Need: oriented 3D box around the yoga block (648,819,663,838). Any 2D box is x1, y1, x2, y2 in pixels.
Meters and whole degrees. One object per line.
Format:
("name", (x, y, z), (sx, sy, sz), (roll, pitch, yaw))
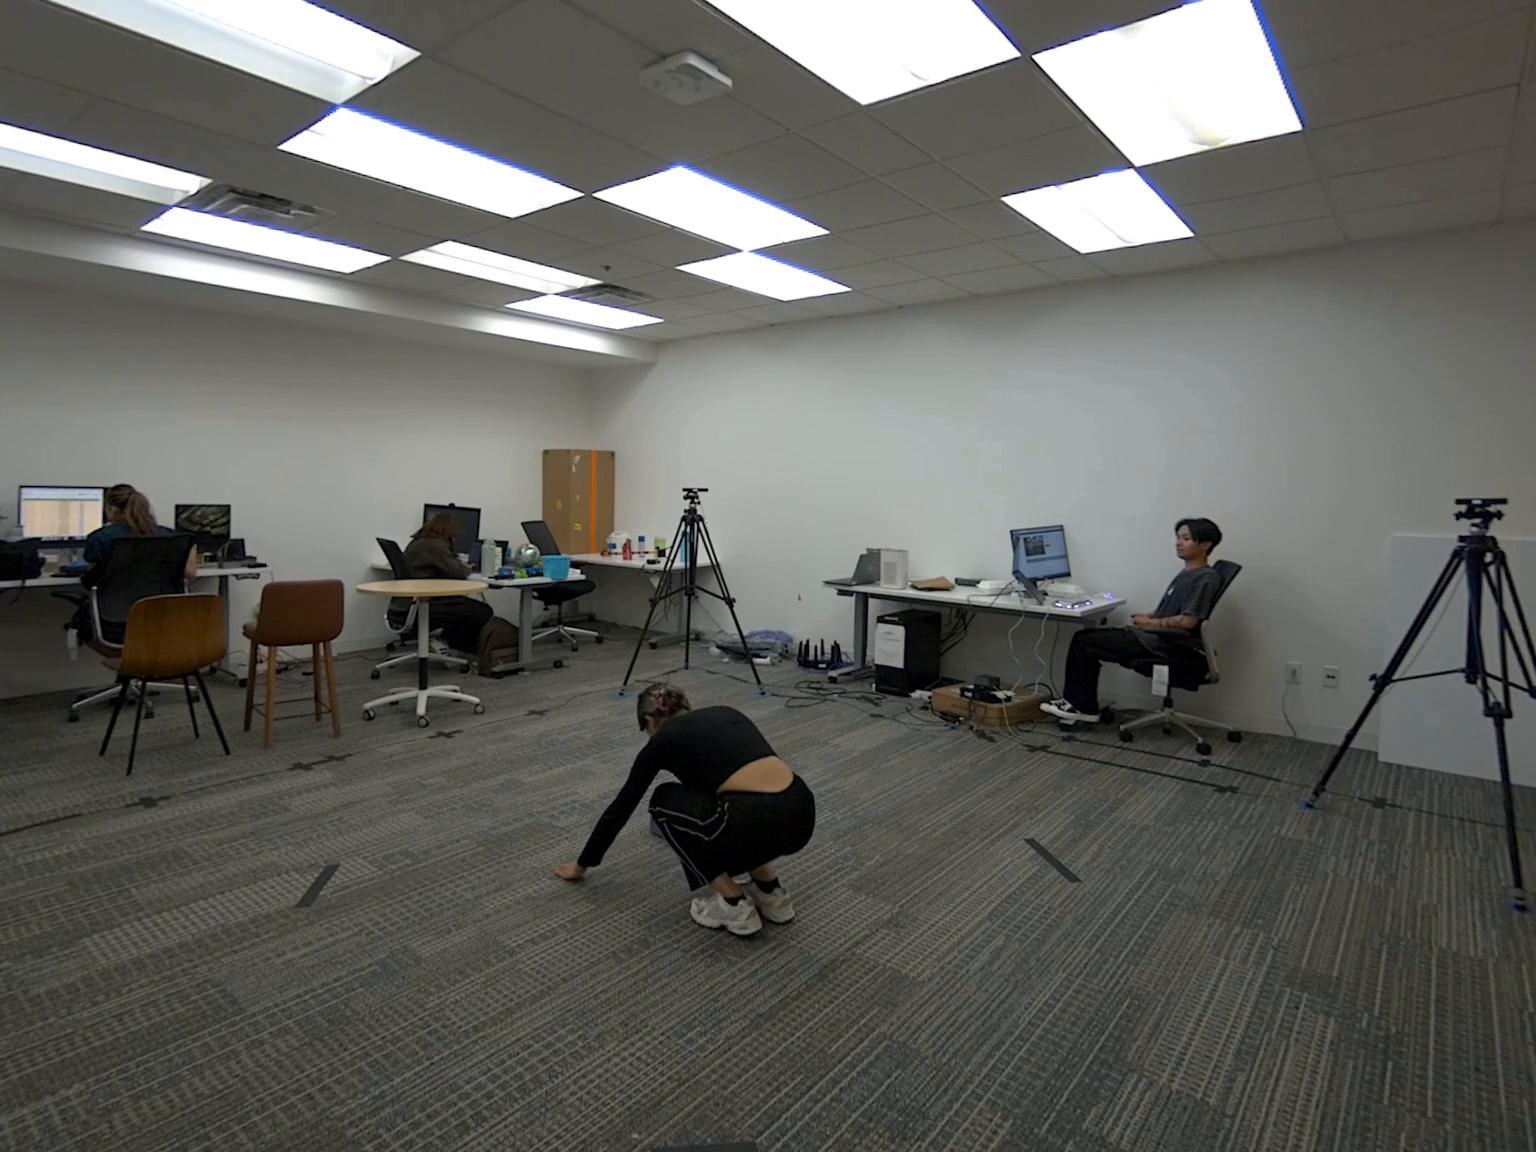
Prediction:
("yoga block", (-0.355, 0.989, 3.457), (0.222, 0.076, 0.154), (-4, 6, -45))
